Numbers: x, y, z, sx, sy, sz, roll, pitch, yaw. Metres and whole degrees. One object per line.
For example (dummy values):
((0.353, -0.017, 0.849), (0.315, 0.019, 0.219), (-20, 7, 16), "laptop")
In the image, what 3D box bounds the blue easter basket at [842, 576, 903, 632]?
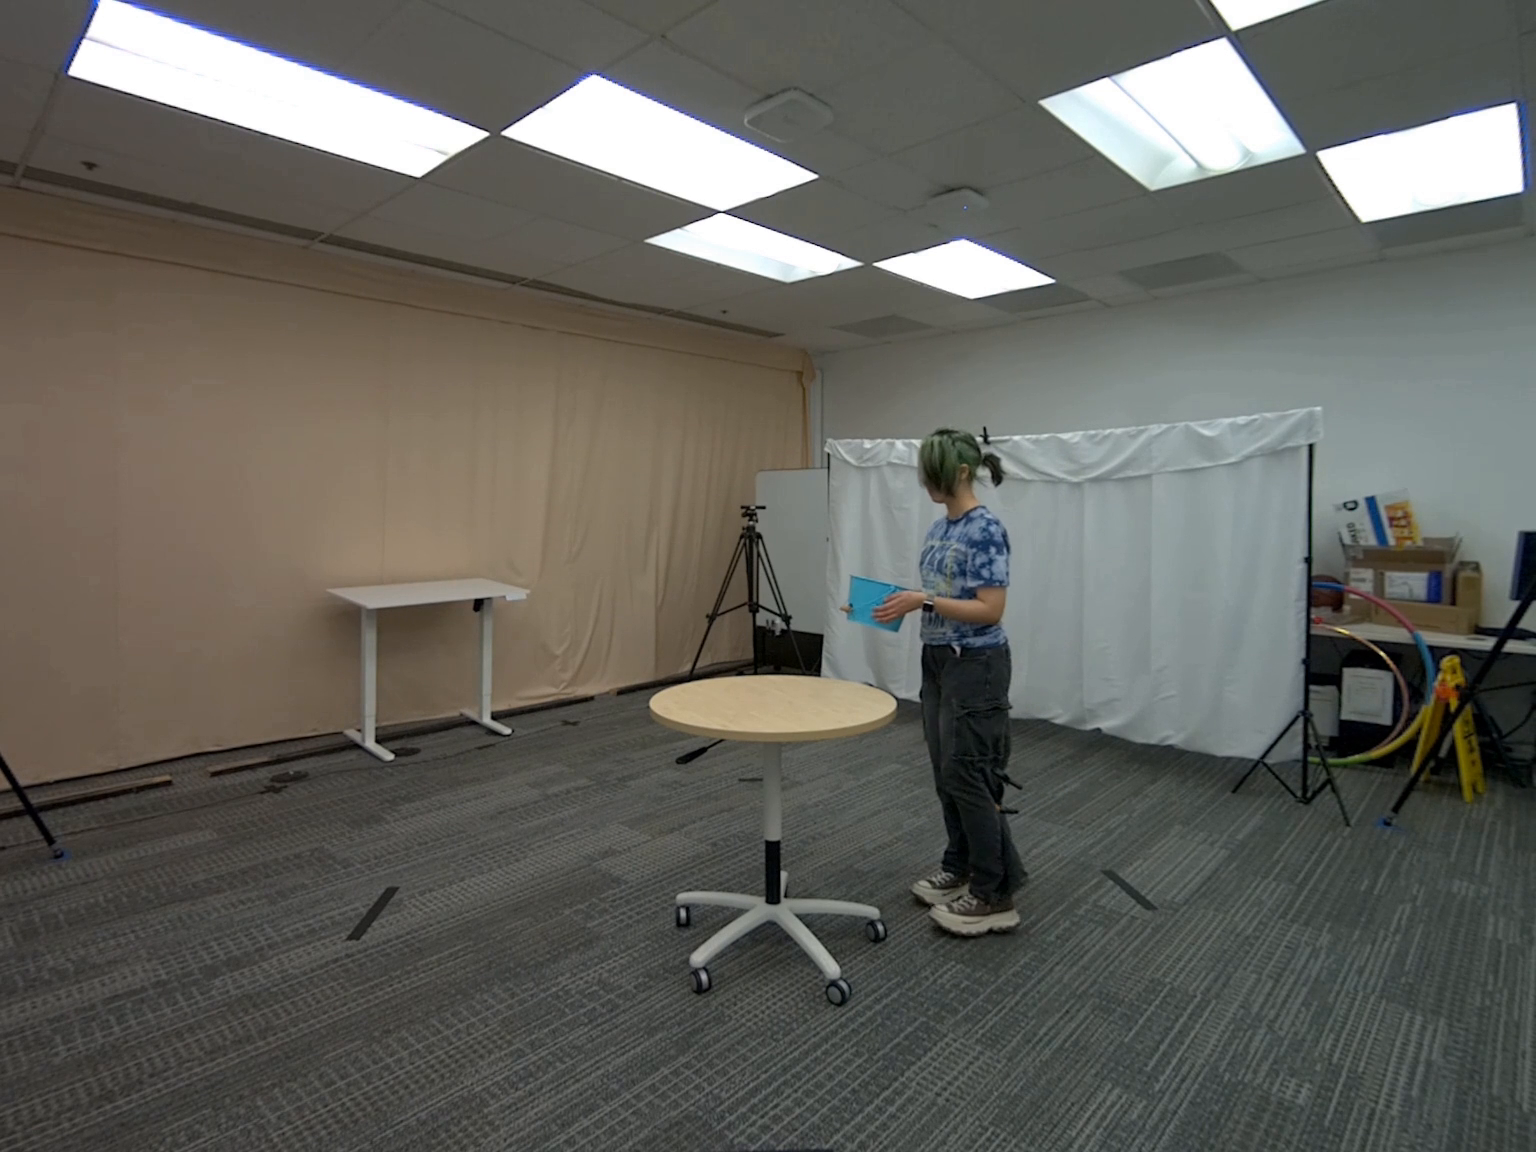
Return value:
((0.387, 0.105, 2.898), (0.243, 0.156, 0.244), (15, 0, -2), "blue easter basket")
